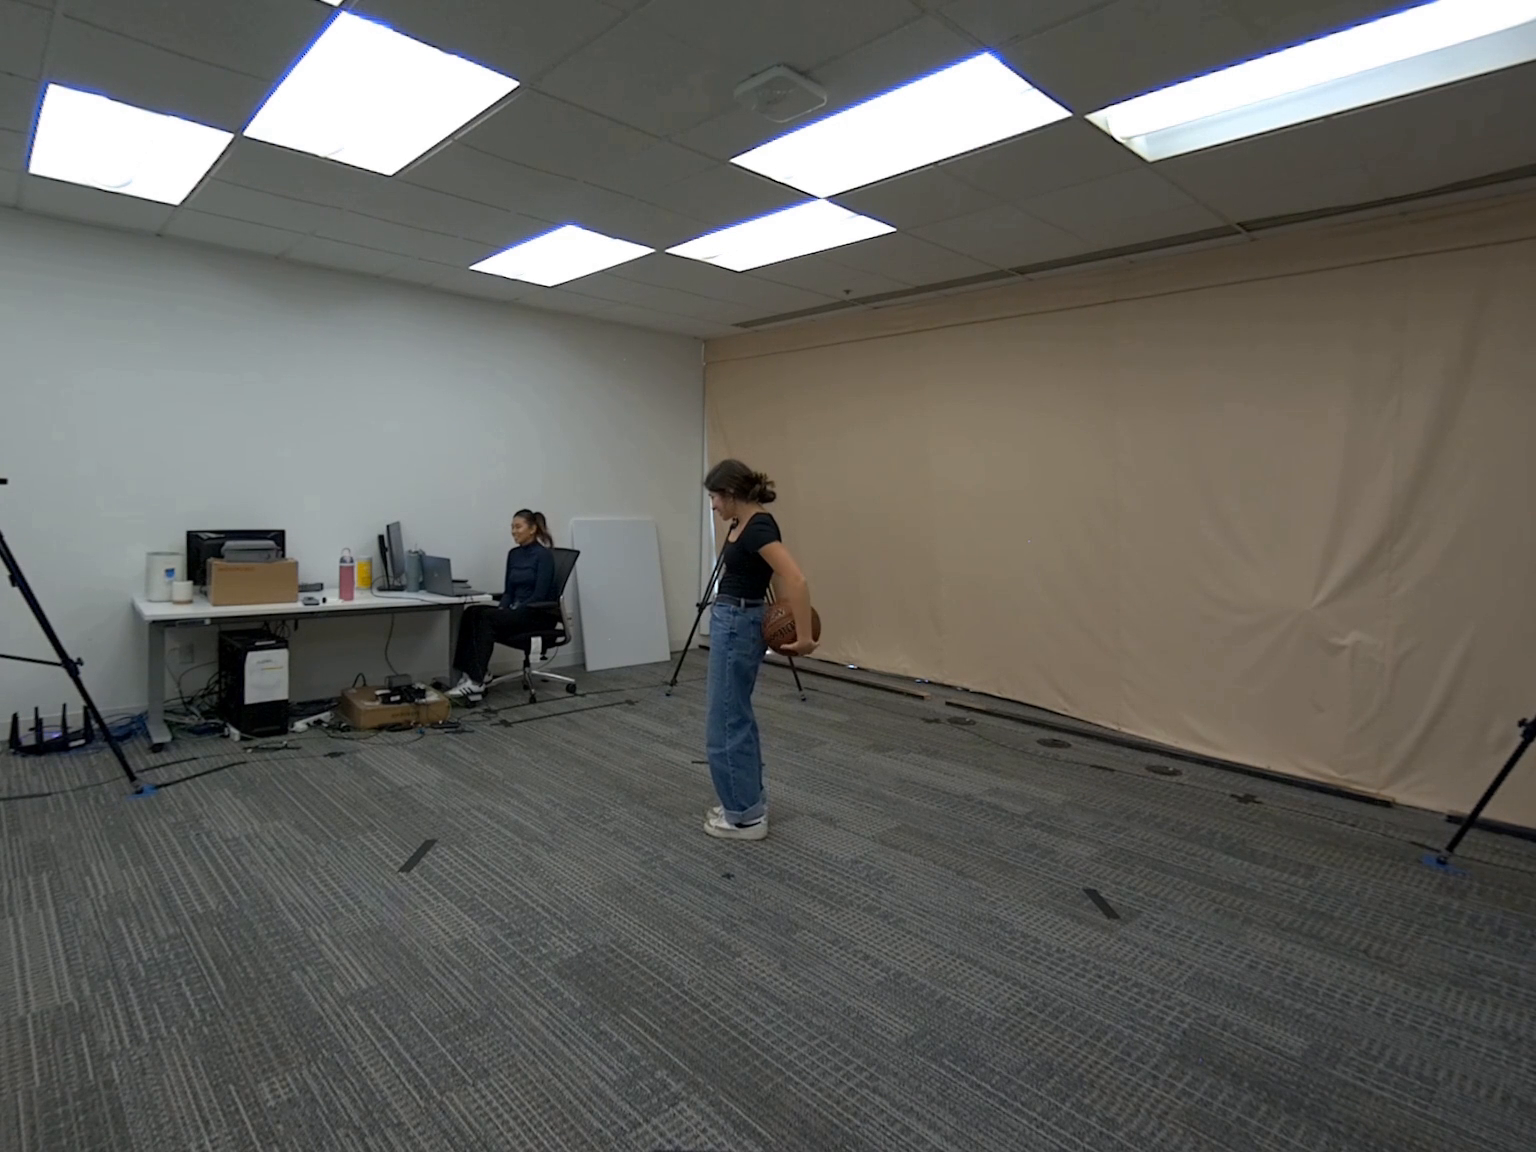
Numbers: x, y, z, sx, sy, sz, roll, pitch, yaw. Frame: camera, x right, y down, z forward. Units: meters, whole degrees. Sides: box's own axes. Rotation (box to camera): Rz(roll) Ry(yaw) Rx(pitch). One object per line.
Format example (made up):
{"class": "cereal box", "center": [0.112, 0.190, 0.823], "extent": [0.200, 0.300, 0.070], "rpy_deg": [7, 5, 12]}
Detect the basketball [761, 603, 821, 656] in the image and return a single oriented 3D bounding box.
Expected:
{"class": "basketball", "center": [0.079, 0.199, 3.396], "extent": [0.236, 0.235, 0.237], "rpy_deg": [1, 4, -1]}
